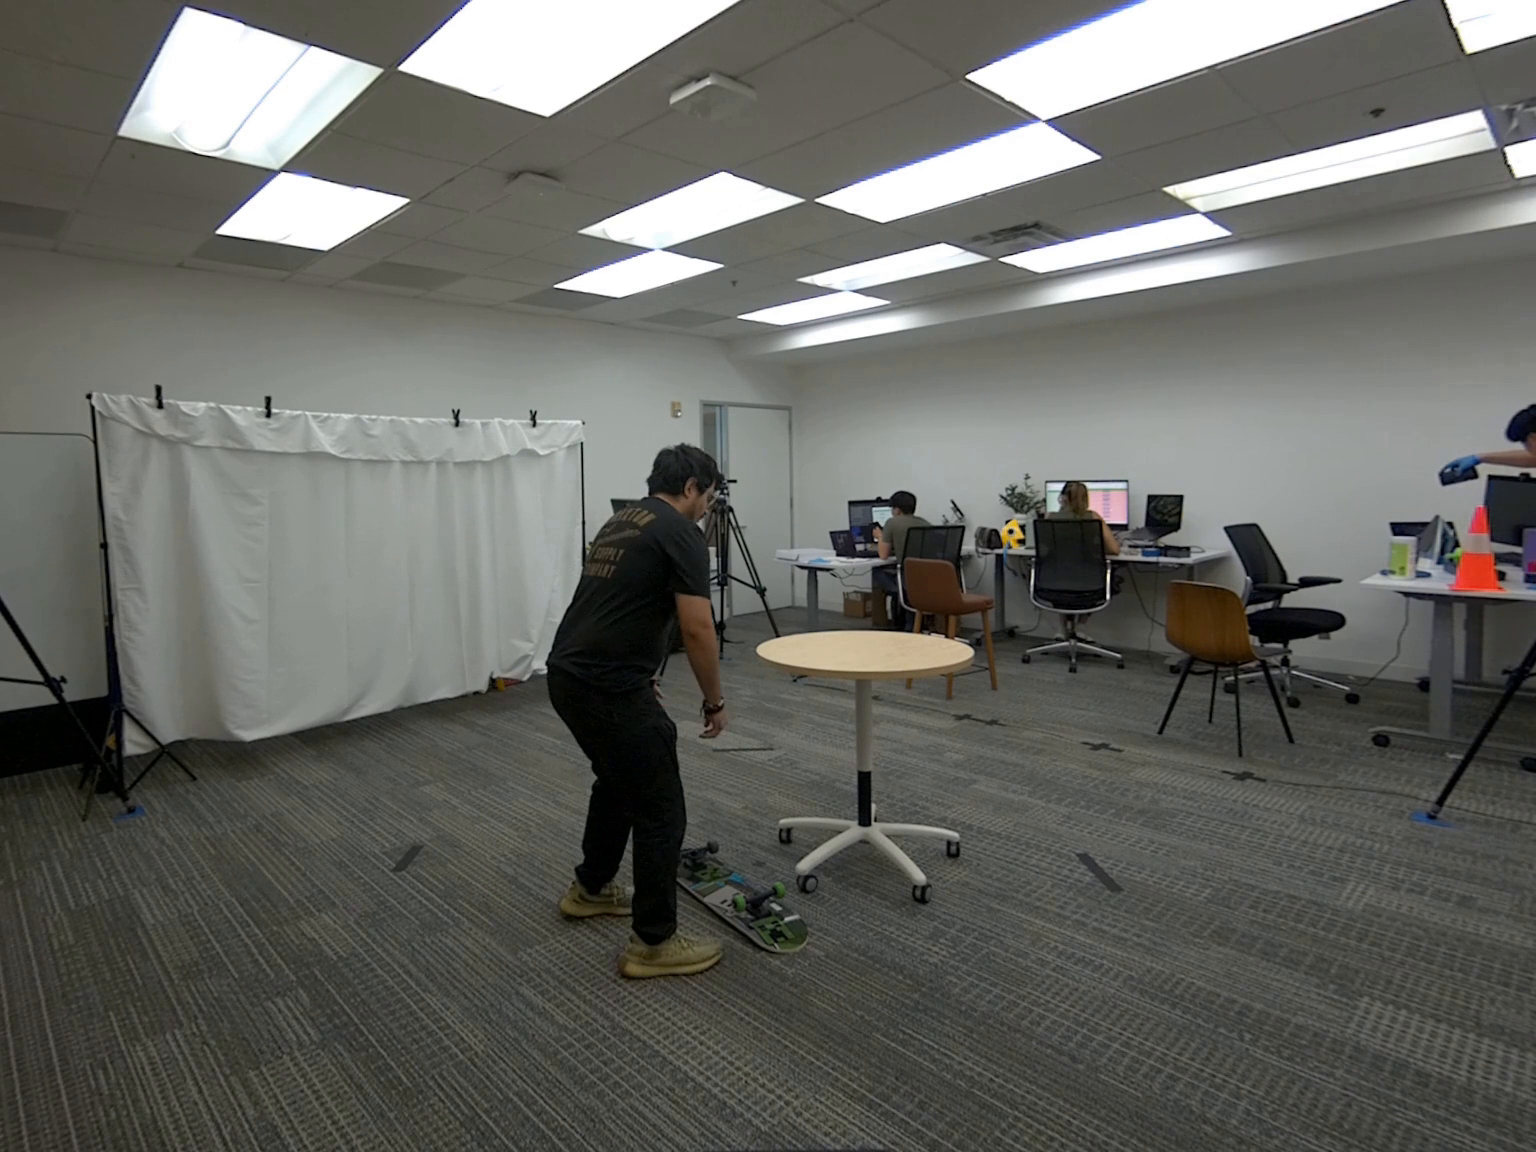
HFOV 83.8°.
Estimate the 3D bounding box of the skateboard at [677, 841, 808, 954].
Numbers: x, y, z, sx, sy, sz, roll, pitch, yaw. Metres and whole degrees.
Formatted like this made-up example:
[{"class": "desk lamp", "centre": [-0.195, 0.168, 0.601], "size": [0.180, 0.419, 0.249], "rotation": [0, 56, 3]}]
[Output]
[{"class": "skateboard", "centre": [-0.141, 1.029, 2.857], "size": [0.189, 0.110, 0.809], "rotation": [-6, 8, -34]}]
